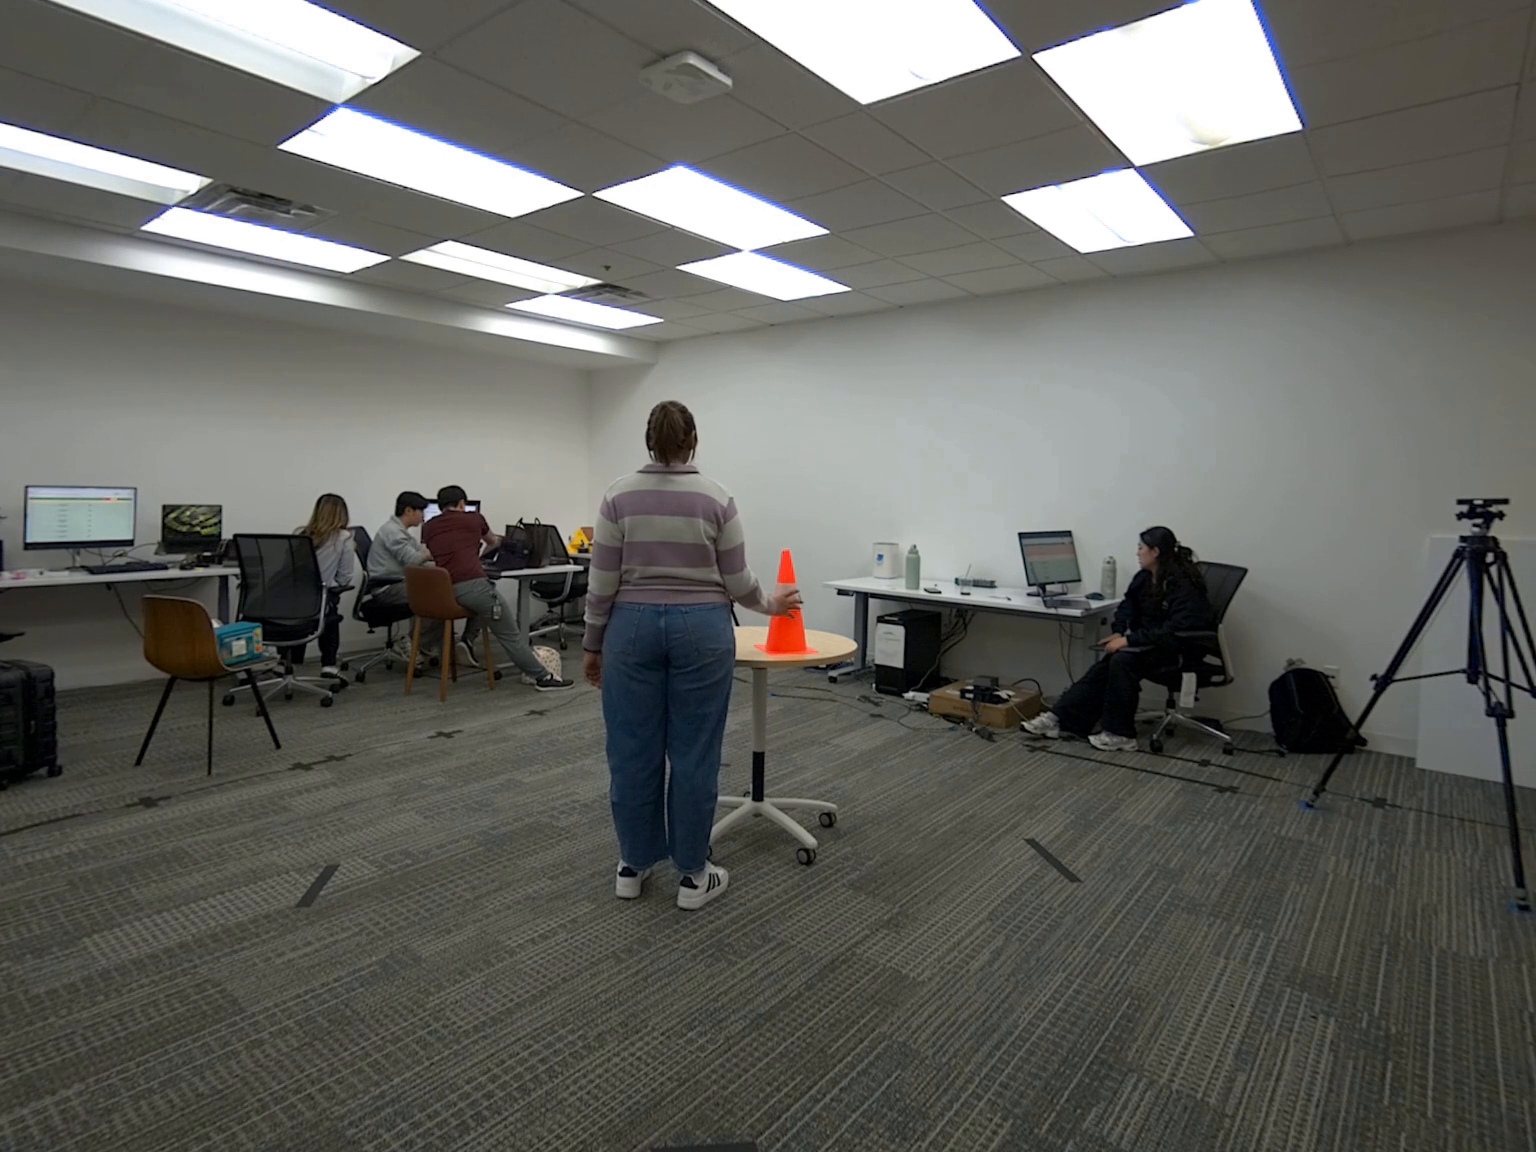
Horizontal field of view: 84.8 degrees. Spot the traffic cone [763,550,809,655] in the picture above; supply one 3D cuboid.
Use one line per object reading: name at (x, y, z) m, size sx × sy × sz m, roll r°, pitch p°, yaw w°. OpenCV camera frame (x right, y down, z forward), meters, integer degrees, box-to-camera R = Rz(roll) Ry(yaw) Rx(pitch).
traffic cone at (0.063, 0.094, 3.230) m, size 0.200 × 0.382 × 0.210 m, roll 0°, pitch 6°, yaw -18°
